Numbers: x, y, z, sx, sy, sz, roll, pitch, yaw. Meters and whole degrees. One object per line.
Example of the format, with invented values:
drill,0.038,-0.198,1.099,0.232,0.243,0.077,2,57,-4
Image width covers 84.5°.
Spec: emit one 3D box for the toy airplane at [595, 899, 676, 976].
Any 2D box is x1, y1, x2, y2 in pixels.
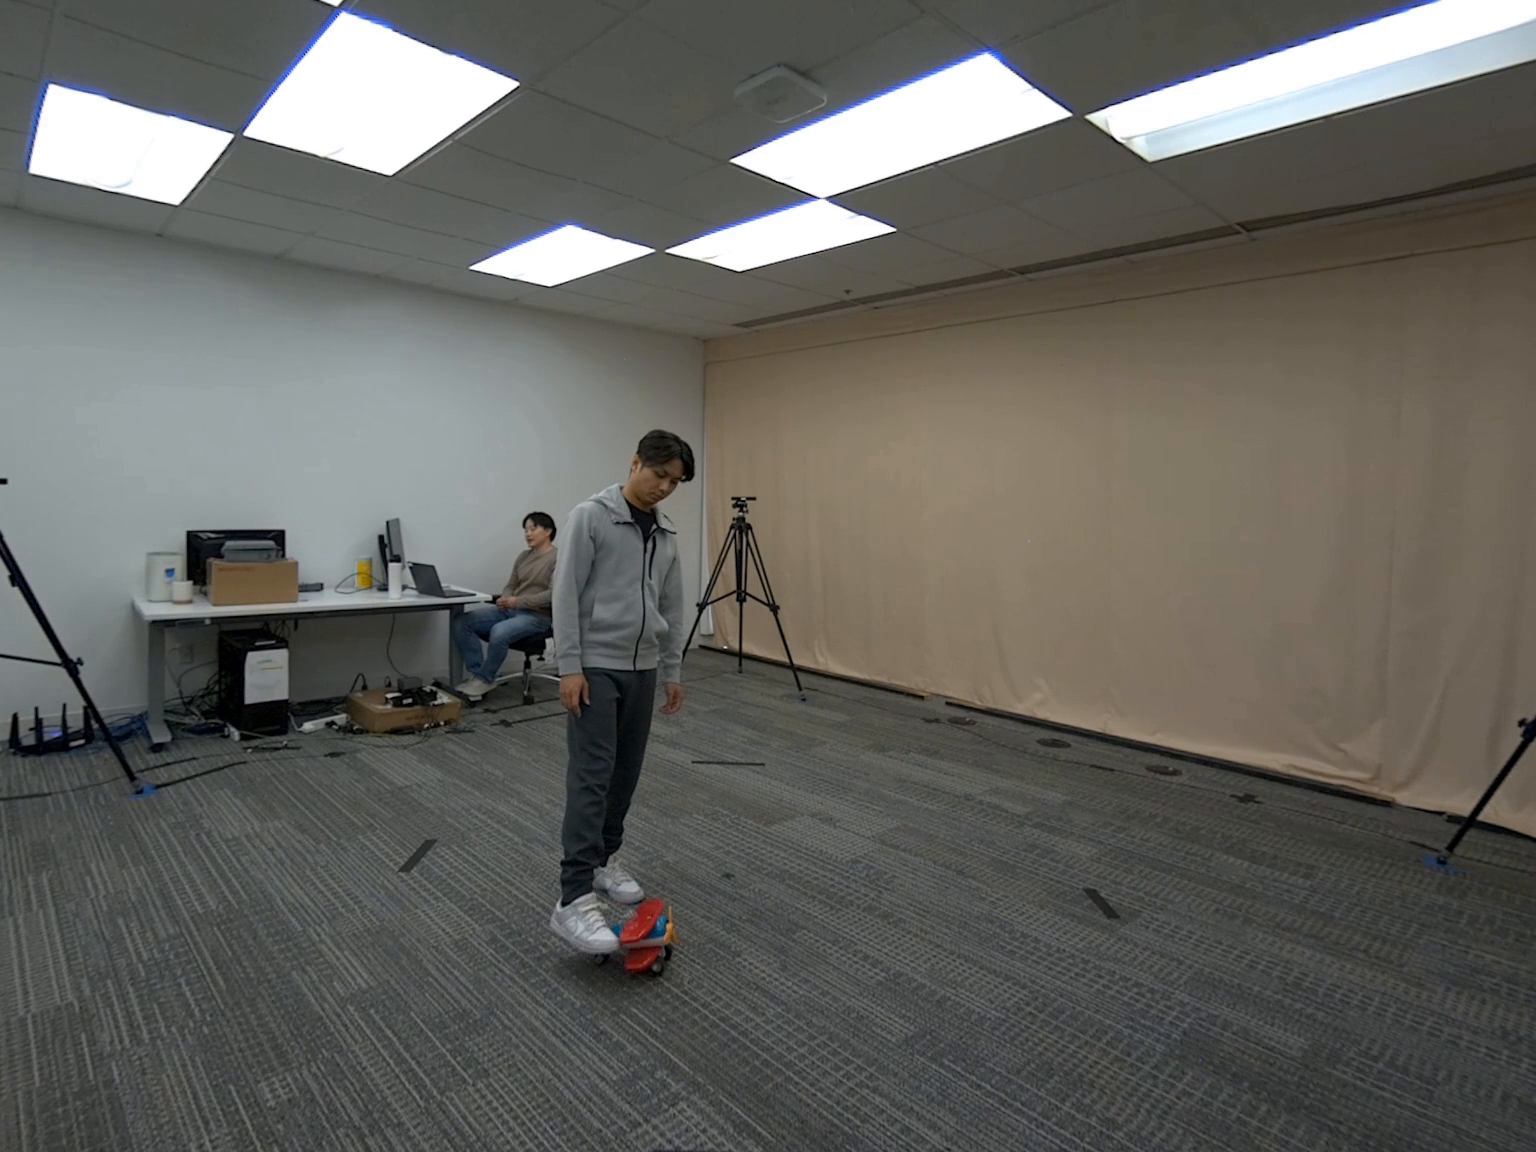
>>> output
toy airplane,-0.409,1.086,2.478,0.255,0.156,0.255,1,5,-19
